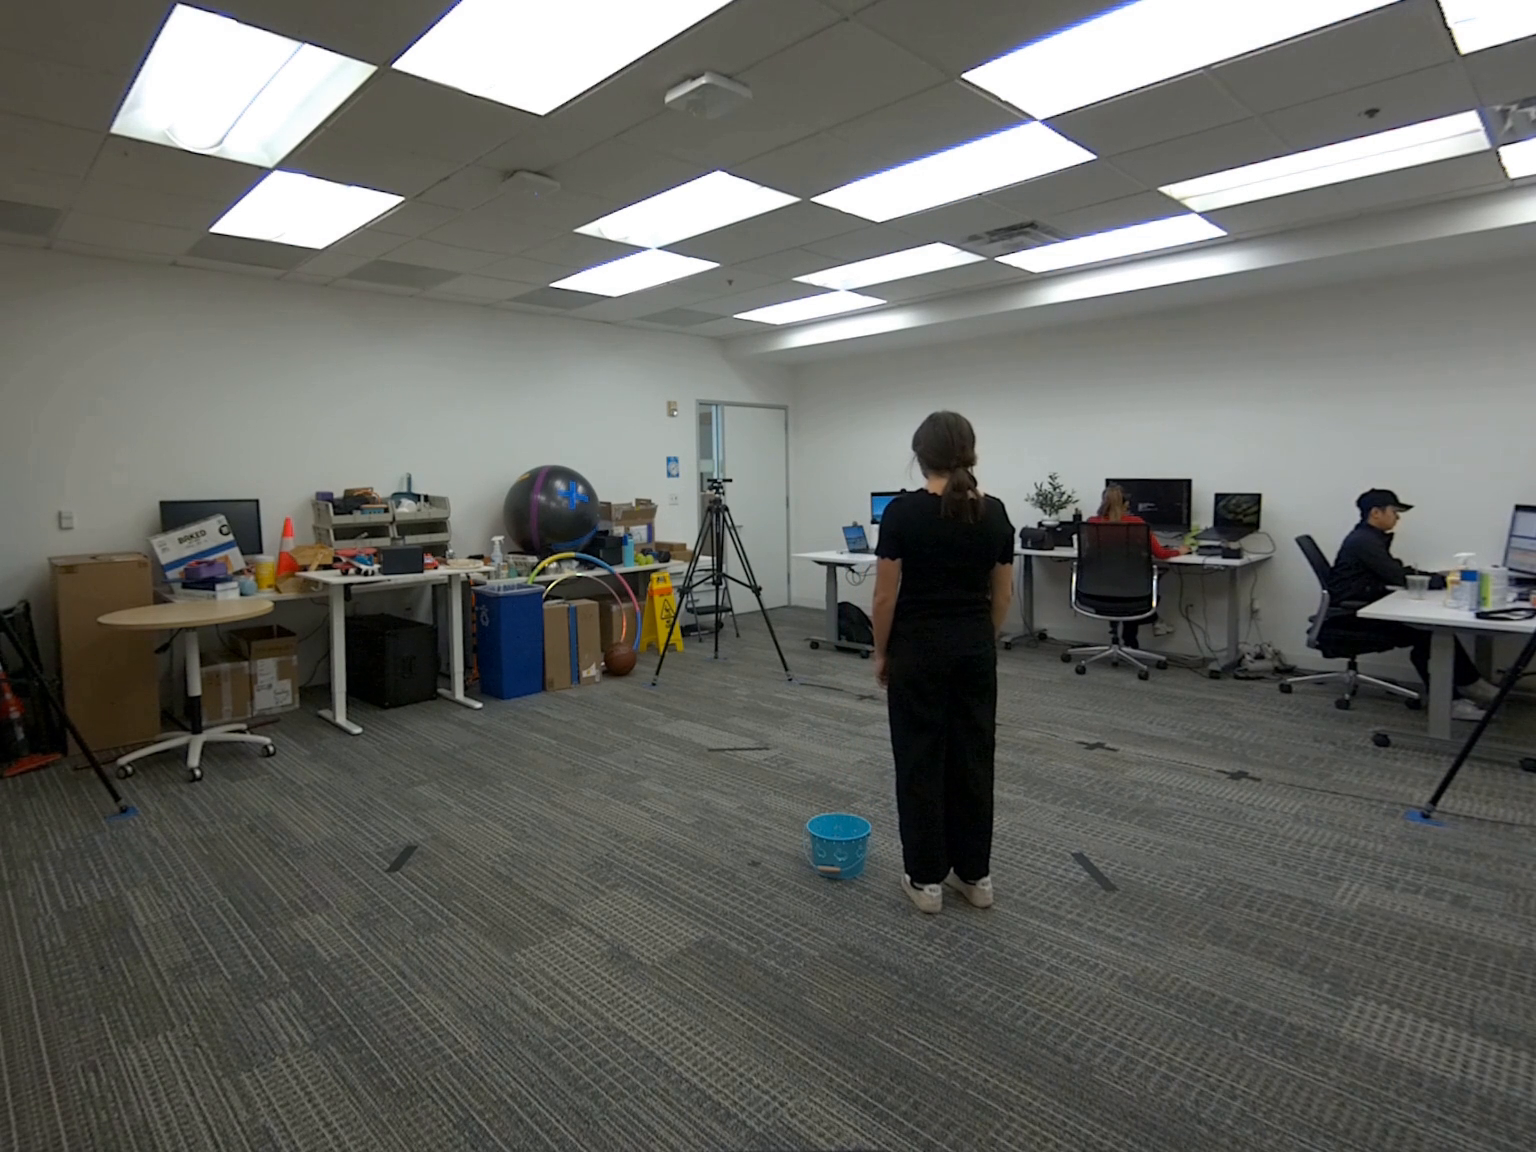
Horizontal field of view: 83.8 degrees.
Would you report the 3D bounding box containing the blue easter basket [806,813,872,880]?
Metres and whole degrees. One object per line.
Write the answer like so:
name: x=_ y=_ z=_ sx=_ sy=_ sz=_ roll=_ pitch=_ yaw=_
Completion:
blue easter basket: x=0.252 y=0.966 z=3.058 sx=0.243 sy=0.155 sz=0.245 roll=-1 pitch=5 yaw=-2
